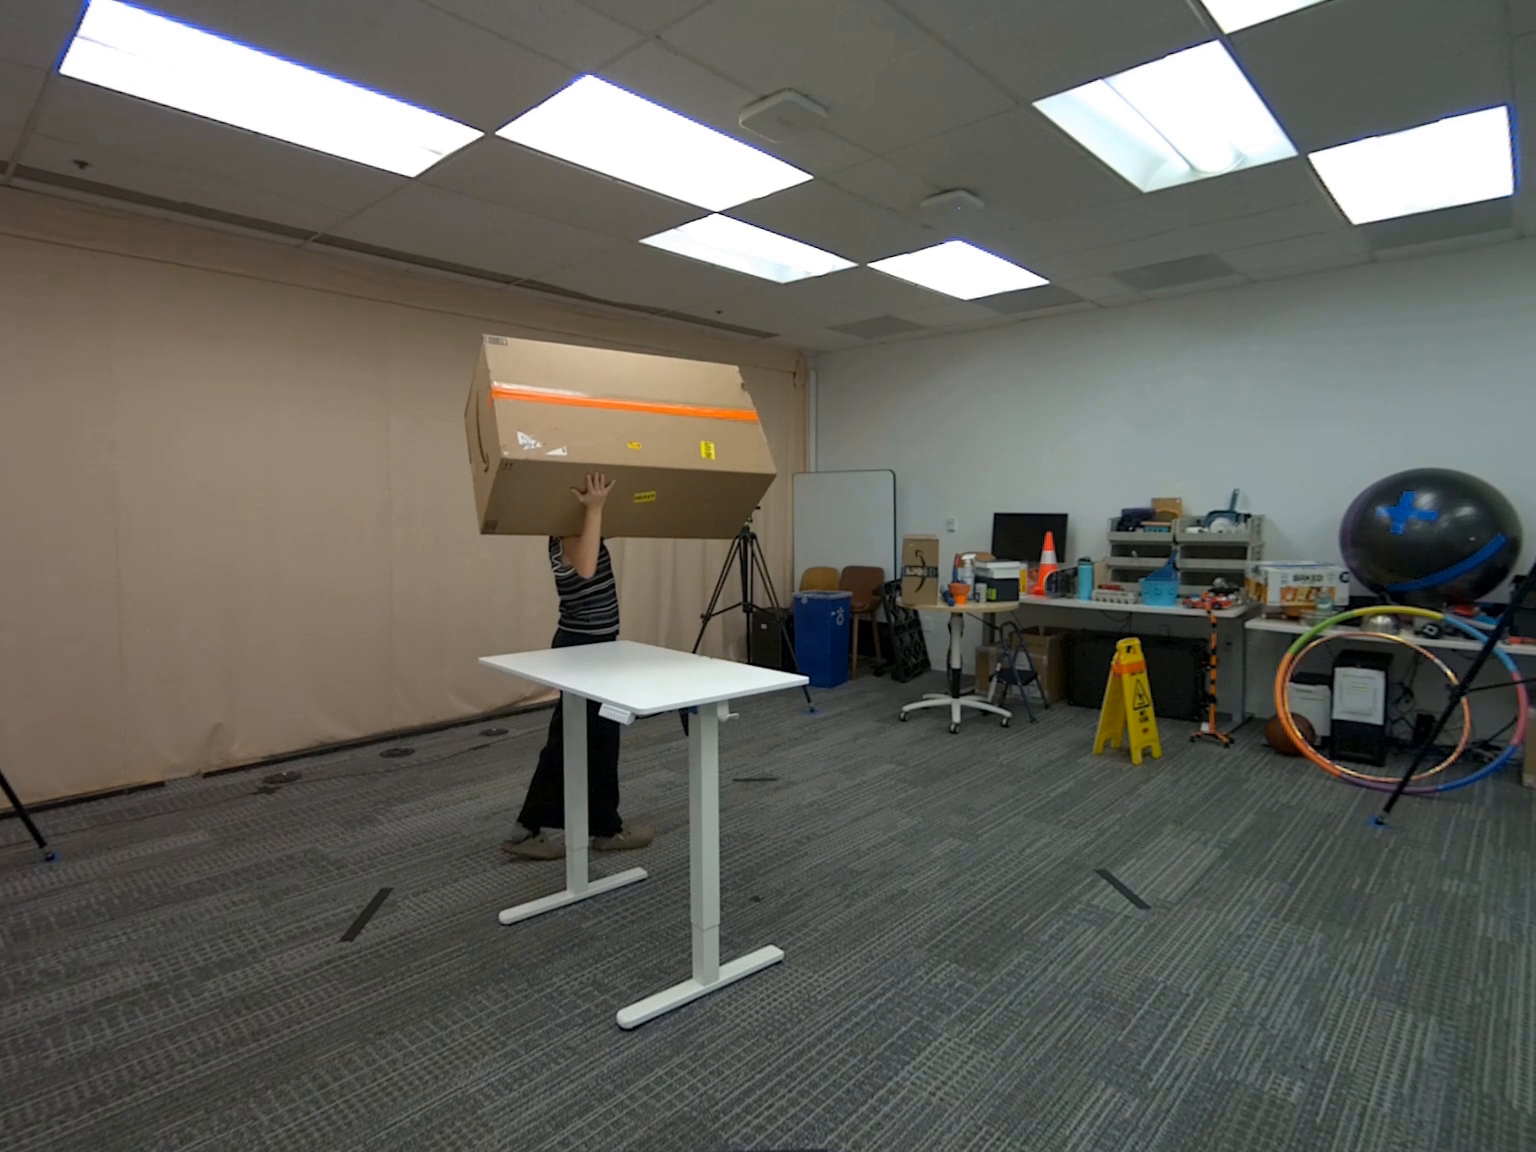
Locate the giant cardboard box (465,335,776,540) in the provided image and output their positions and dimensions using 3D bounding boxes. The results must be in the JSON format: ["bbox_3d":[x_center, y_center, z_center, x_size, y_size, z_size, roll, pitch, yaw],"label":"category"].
[{"bbox_3d":[-0.567,-0.495,3.194,0.999,0.591,0.427,0,-34,-27],"label":"giant cardboard box"}]
